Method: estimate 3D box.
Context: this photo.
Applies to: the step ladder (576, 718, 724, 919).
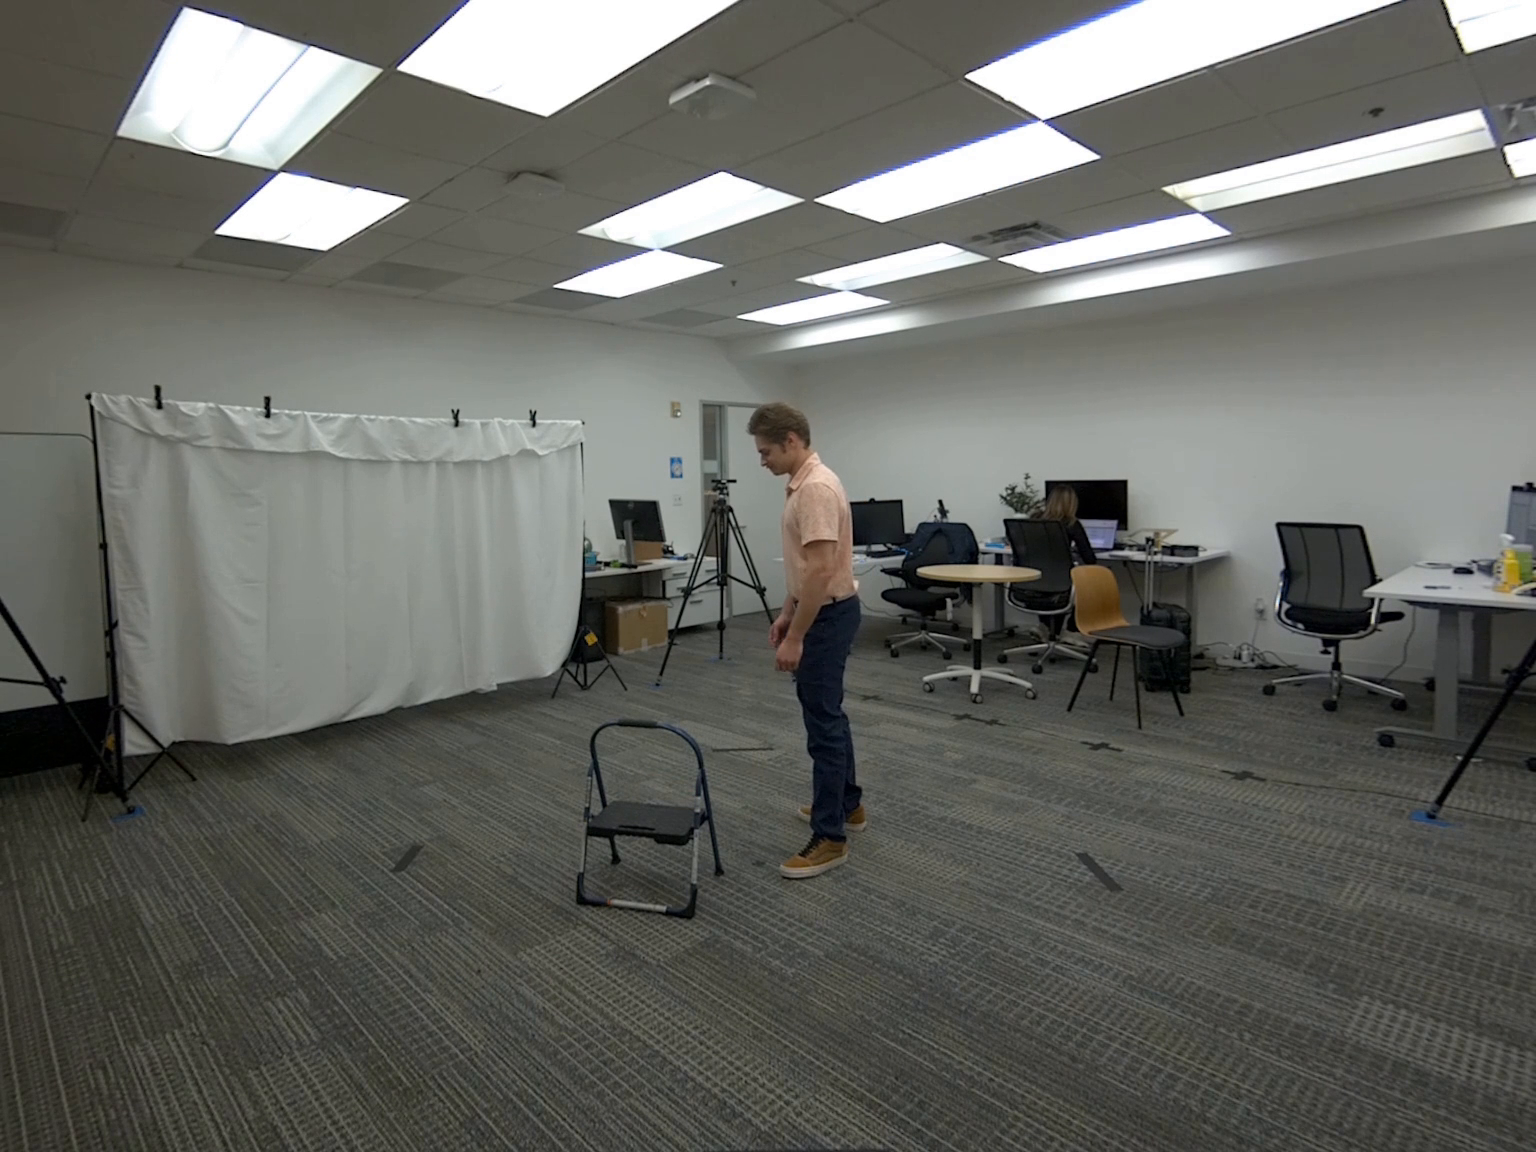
[{"bbox_3d":[-0.405,0.772,2.921,0.437,0.604,0.346,0,4,14],"label":"step ladder"}]
